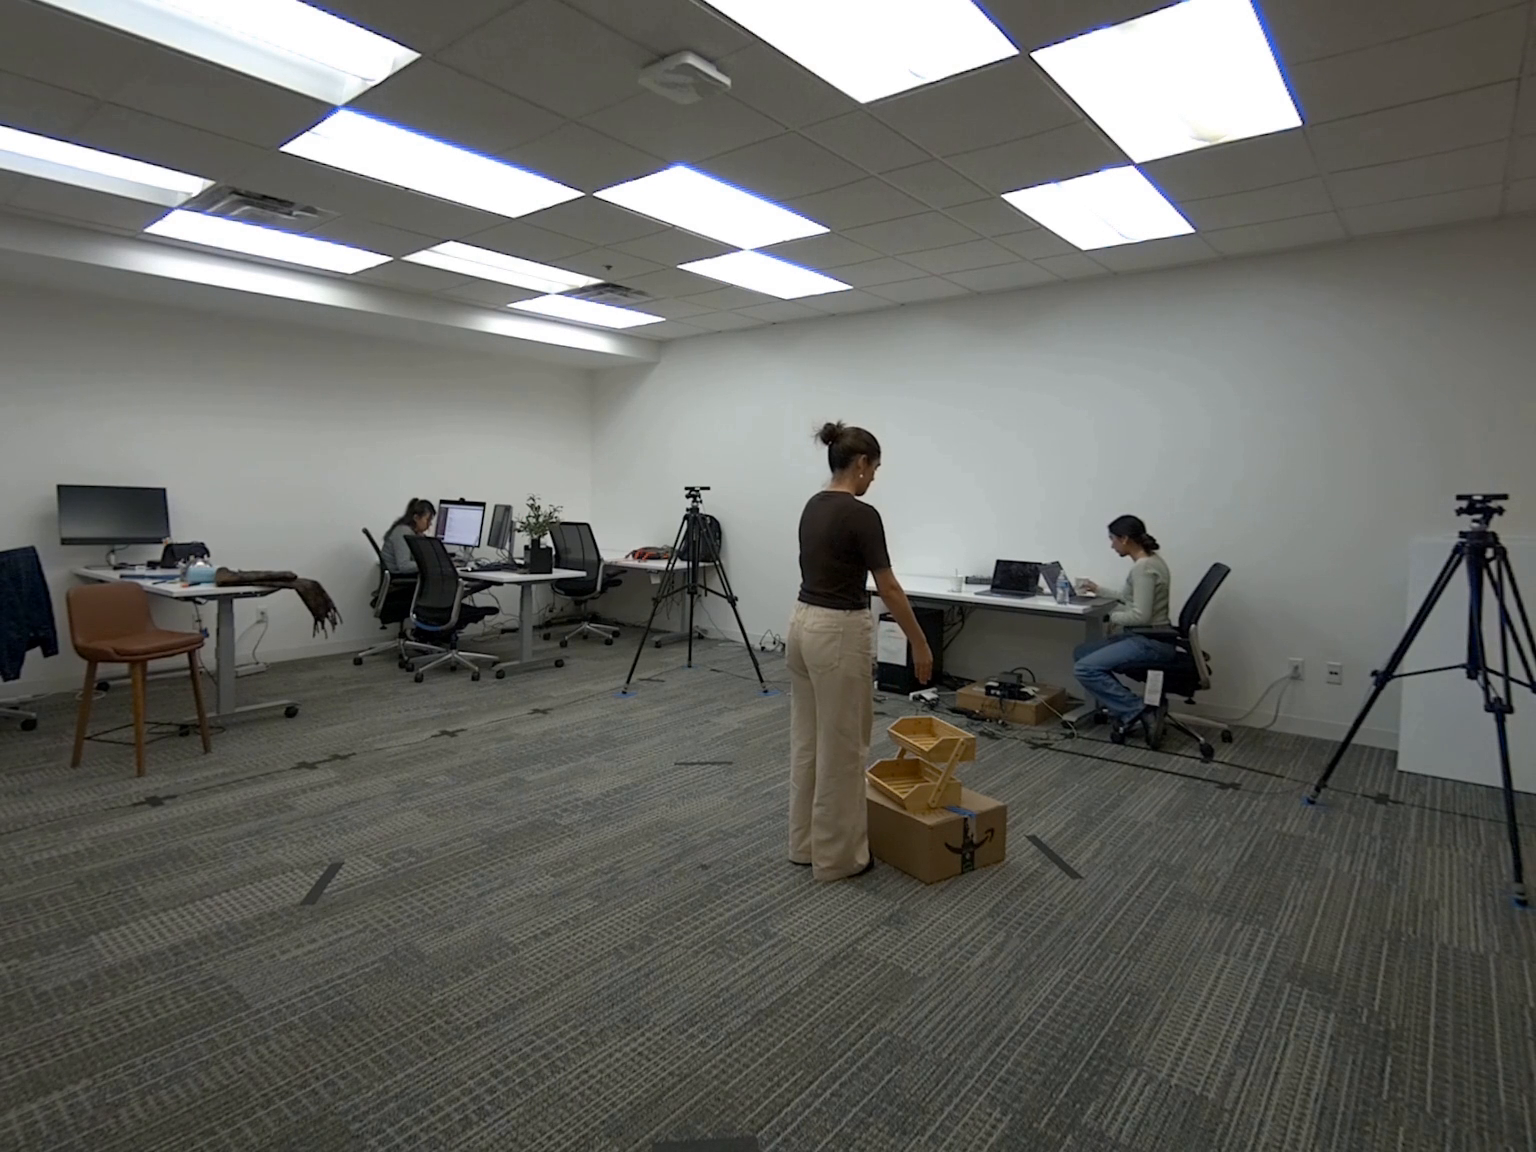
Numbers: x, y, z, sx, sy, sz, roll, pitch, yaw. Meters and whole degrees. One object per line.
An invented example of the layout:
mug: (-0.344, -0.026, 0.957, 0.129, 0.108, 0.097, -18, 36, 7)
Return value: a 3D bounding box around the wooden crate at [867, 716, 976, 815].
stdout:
wooden crate: (0.573, 0.711, 3.316, 0.296, 0.272, 0.332, 1, 5, -20)
